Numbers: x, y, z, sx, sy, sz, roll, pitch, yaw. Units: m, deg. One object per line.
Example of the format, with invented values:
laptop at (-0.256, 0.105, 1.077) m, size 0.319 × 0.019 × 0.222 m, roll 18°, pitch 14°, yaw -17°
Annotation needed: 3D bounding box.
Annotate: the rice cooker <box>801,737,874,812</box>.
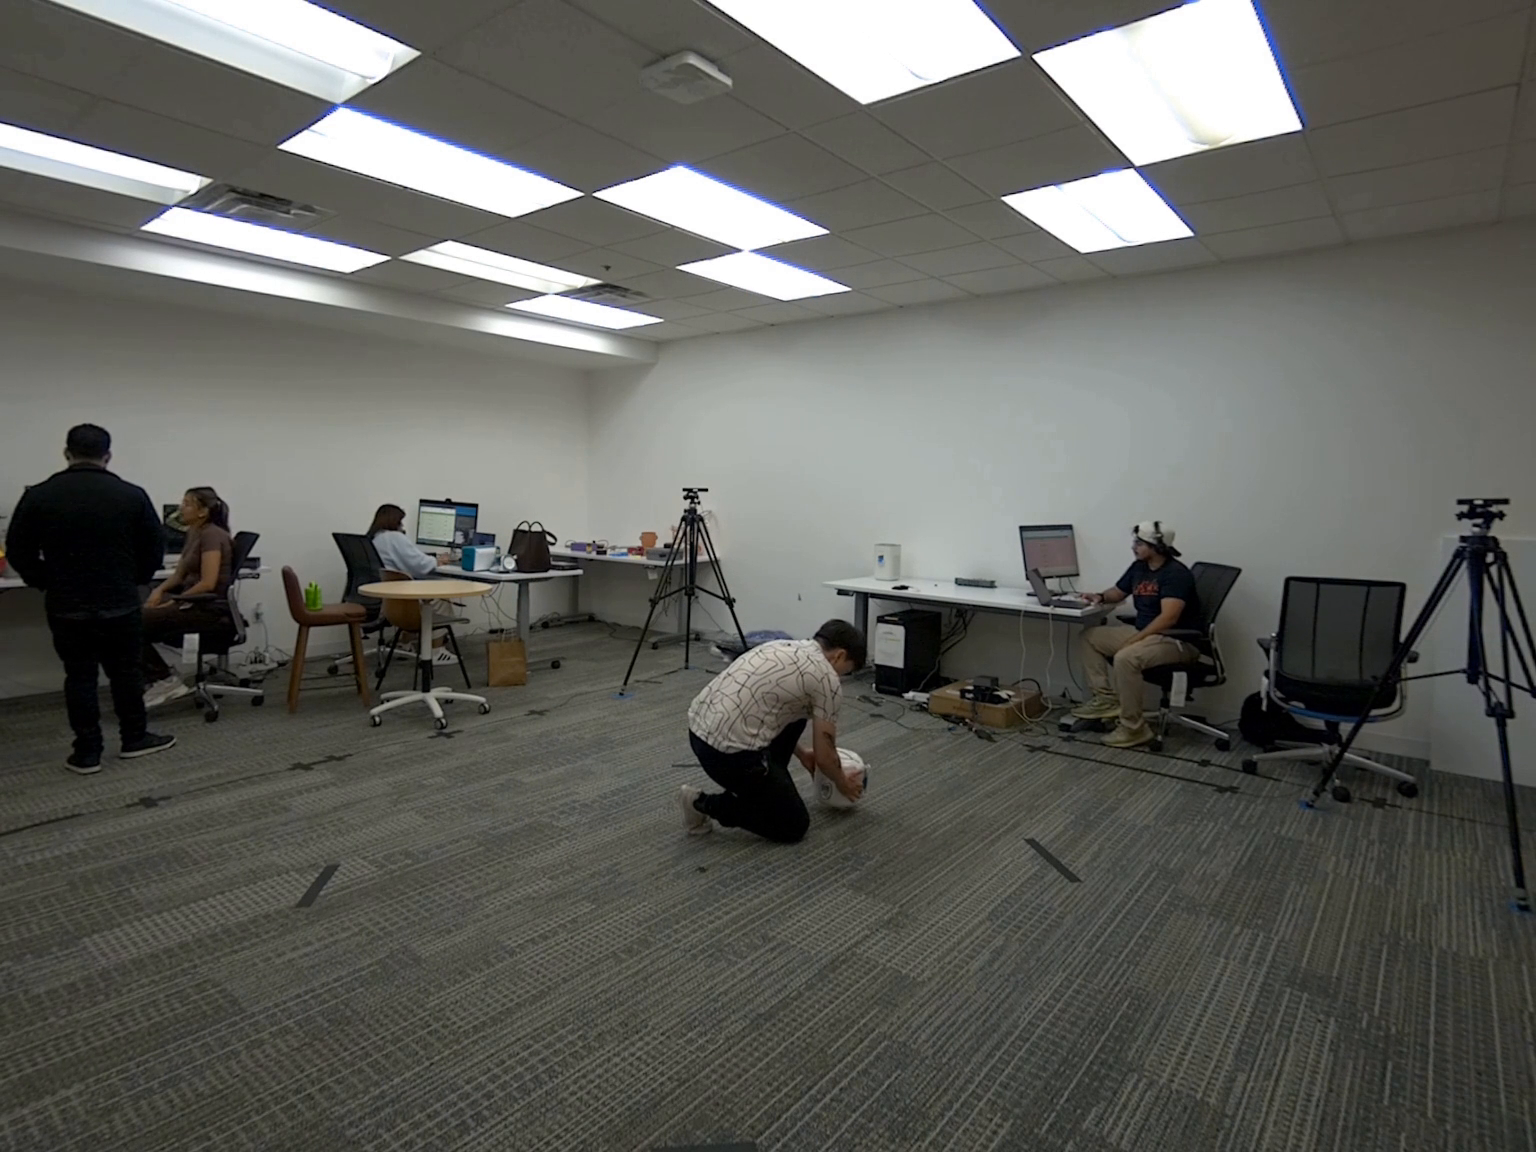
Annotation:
rice cooker at (0.304, 0.861, 3.699) m, size 0.228 × 0.232 × 0.211 m, roll 6°, pitch 5°, yaw 35°
